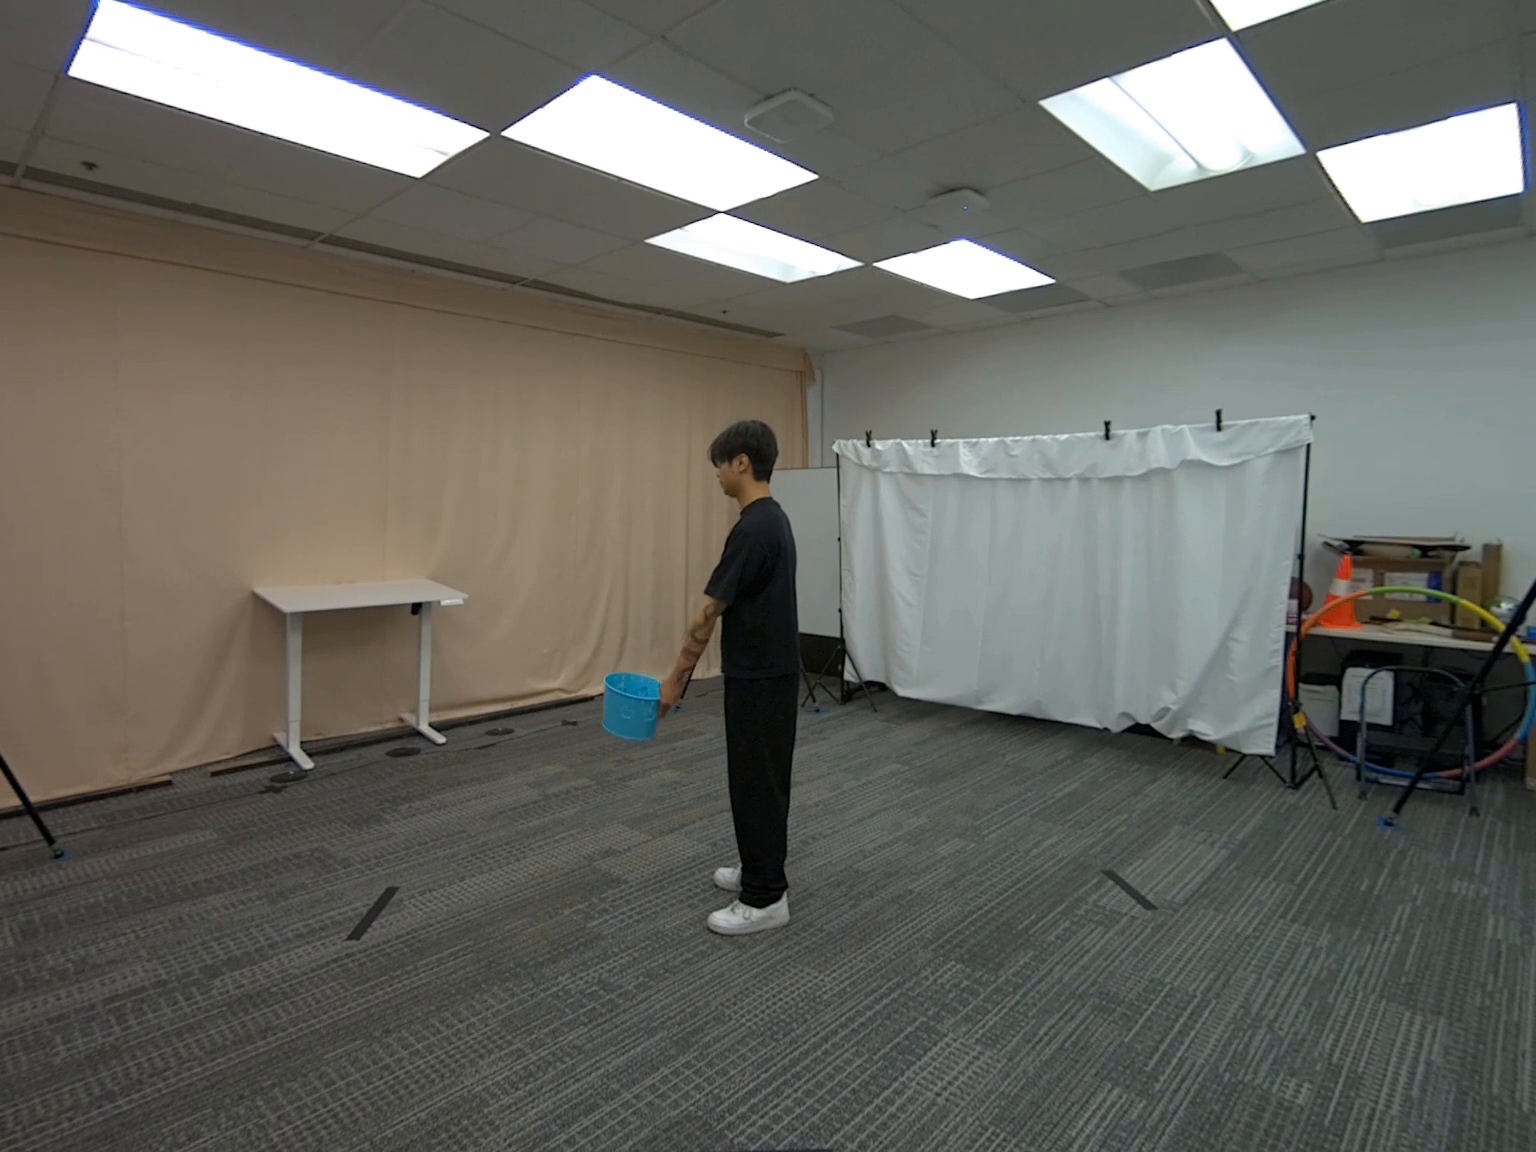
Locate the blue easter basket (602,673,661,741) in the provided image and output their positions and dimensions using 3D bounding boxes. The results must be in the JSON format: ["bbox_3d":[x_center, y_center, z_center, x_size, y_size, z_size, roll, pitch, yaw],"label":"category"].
[{"bbox_3d":[-0.428,0.435,2.784,0.243,0.155,0.245,12,9,-4],"label":"blue easter basket"}]
